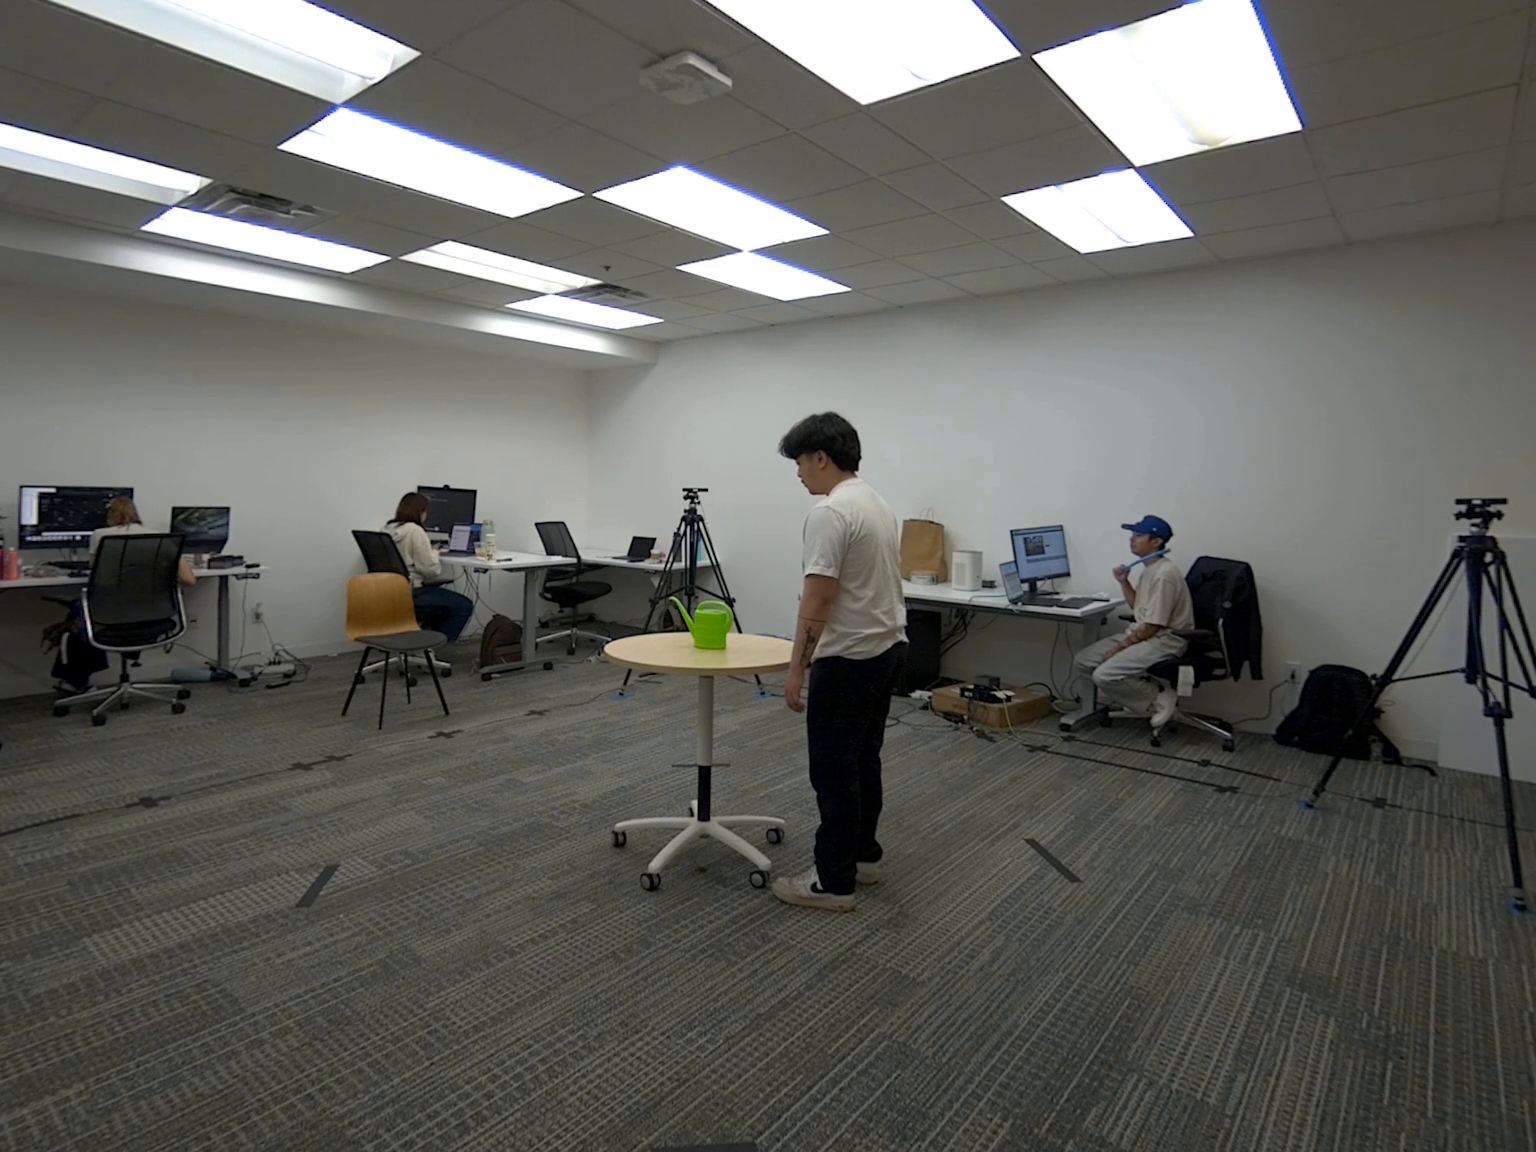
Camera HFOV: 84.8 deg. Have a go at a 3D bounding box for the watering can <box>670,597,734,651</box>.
[{"bbox_3d":[-0.271,0.178,3.244,0.288,0.176,0.095,6,5,38],"label":"watering can"}]
